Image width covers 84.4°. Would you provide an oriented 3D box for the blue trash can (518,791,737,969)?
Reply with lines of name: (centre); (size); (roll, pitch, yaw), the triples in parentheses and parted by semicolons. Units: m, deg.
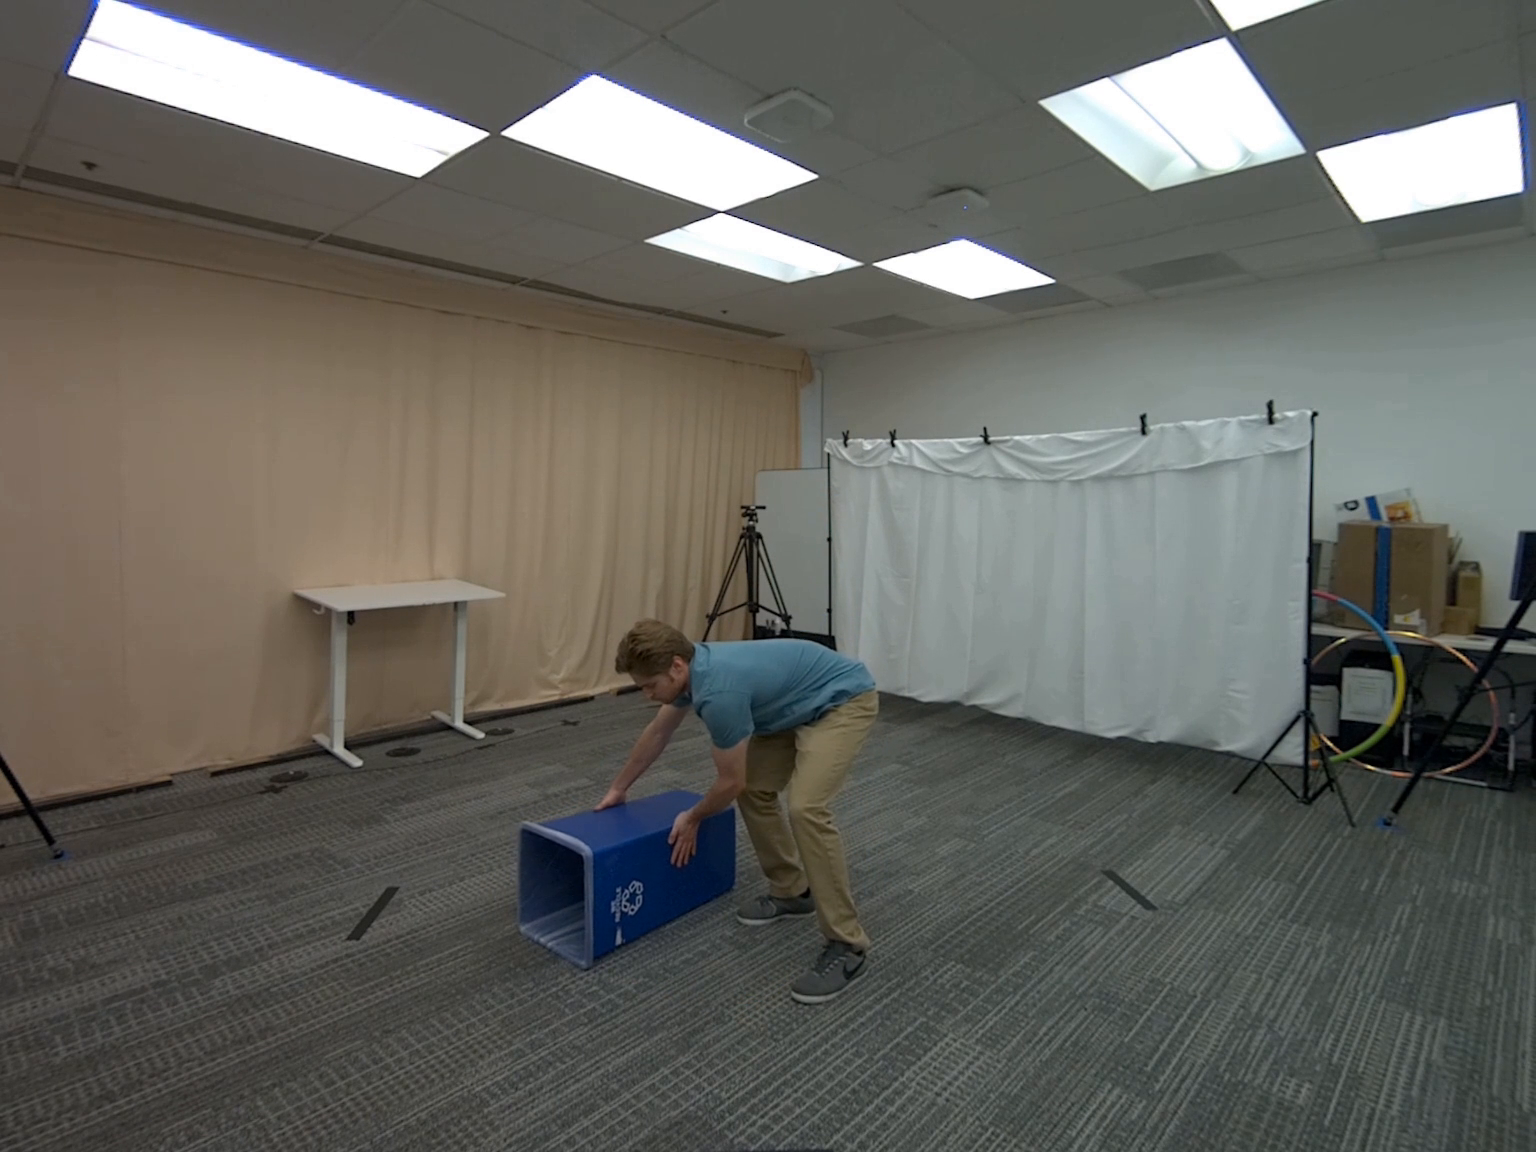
blue trash can: (-0.464, 0.992, 2.905); (0.386, 0.378, 0.691); (1, 1, 40)
